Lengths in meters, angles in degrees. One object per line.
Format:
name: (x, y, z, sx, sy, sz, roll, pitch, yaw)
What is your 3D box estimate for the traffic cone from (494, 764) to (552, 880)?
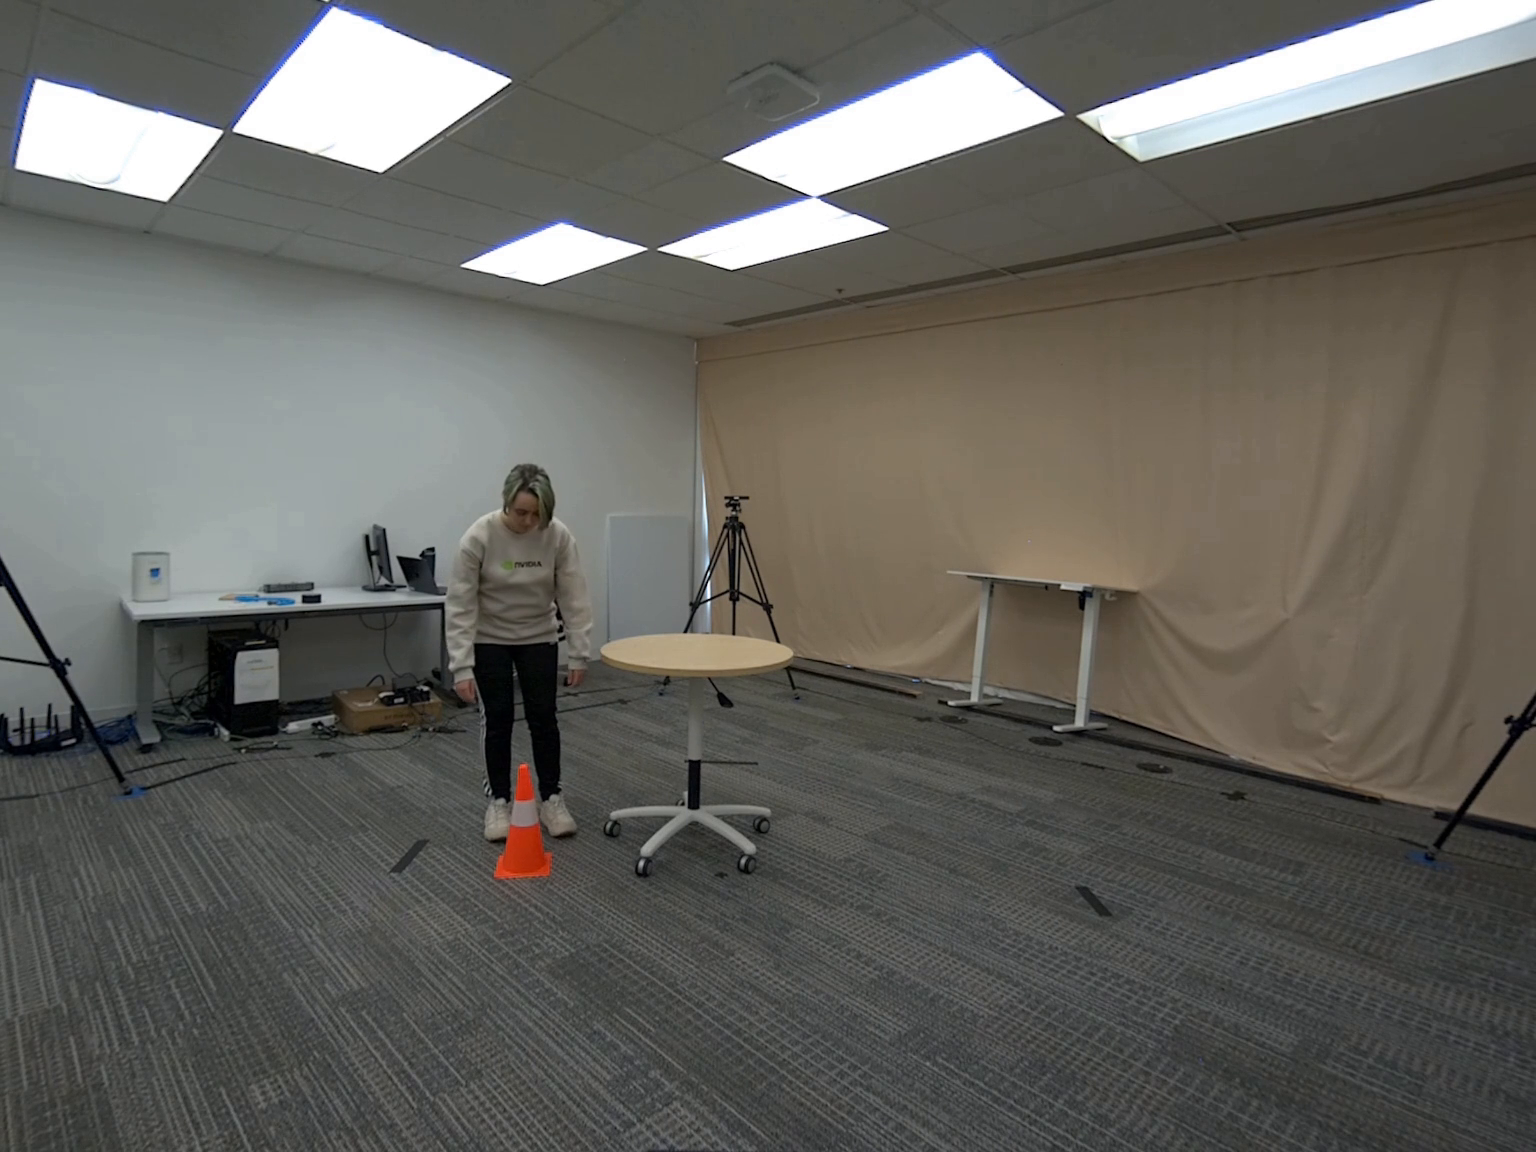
traffic cone: (-0.926, 0.901, 3.140, 0.203, 0.383, 0.205, -1, 3, -10)
